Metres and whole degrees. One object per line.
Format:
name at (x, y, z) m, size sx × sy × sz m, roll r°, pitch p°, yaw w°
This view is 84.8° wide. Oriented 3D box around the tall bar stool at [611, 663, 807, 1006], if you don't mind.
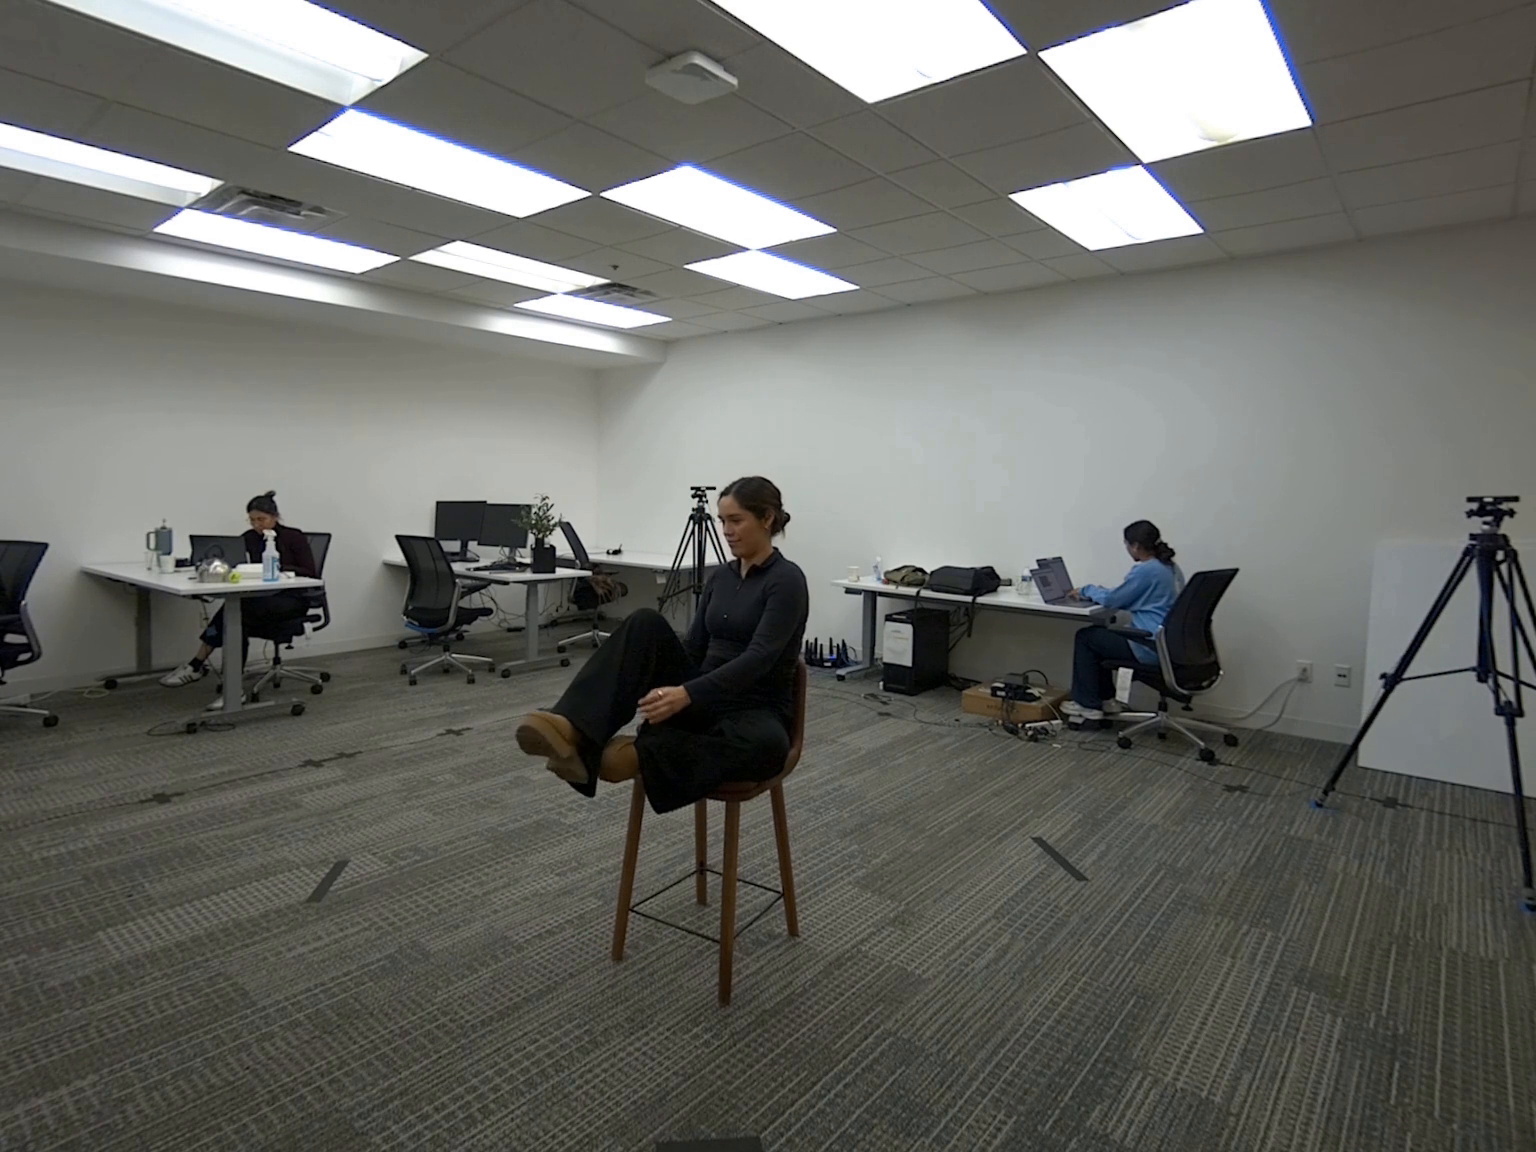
tall bar stool at (-0.169, 0.687, 2.557) m, size 0.470 × 0.888 × 0.454 m, roll 4°, pitch 2°, yaw 32°
